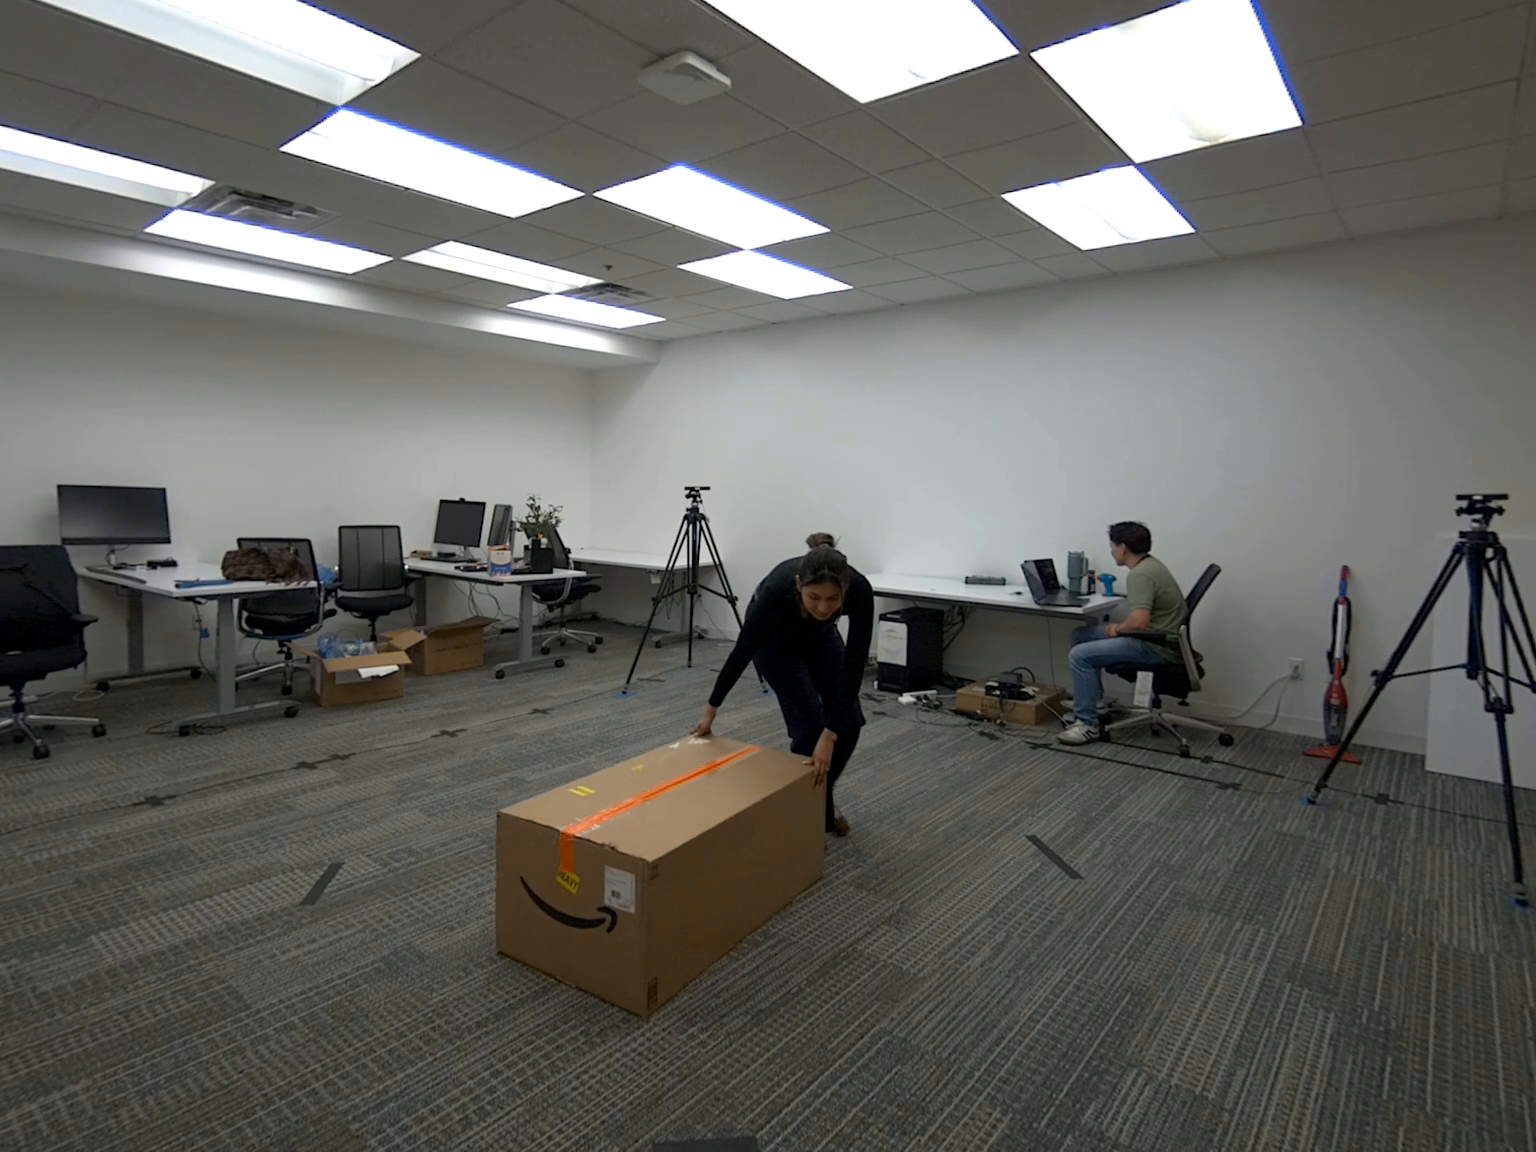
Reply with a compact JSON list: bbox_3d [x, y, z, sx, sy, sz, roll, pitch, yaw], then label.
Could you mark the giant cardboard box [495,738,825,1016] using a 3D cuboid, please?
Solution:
[{"bbox_3d":[-0.312,0.883,2.779,0.595,0.424,0.999,4,6,32],"label":"giant cardboard box"}]
